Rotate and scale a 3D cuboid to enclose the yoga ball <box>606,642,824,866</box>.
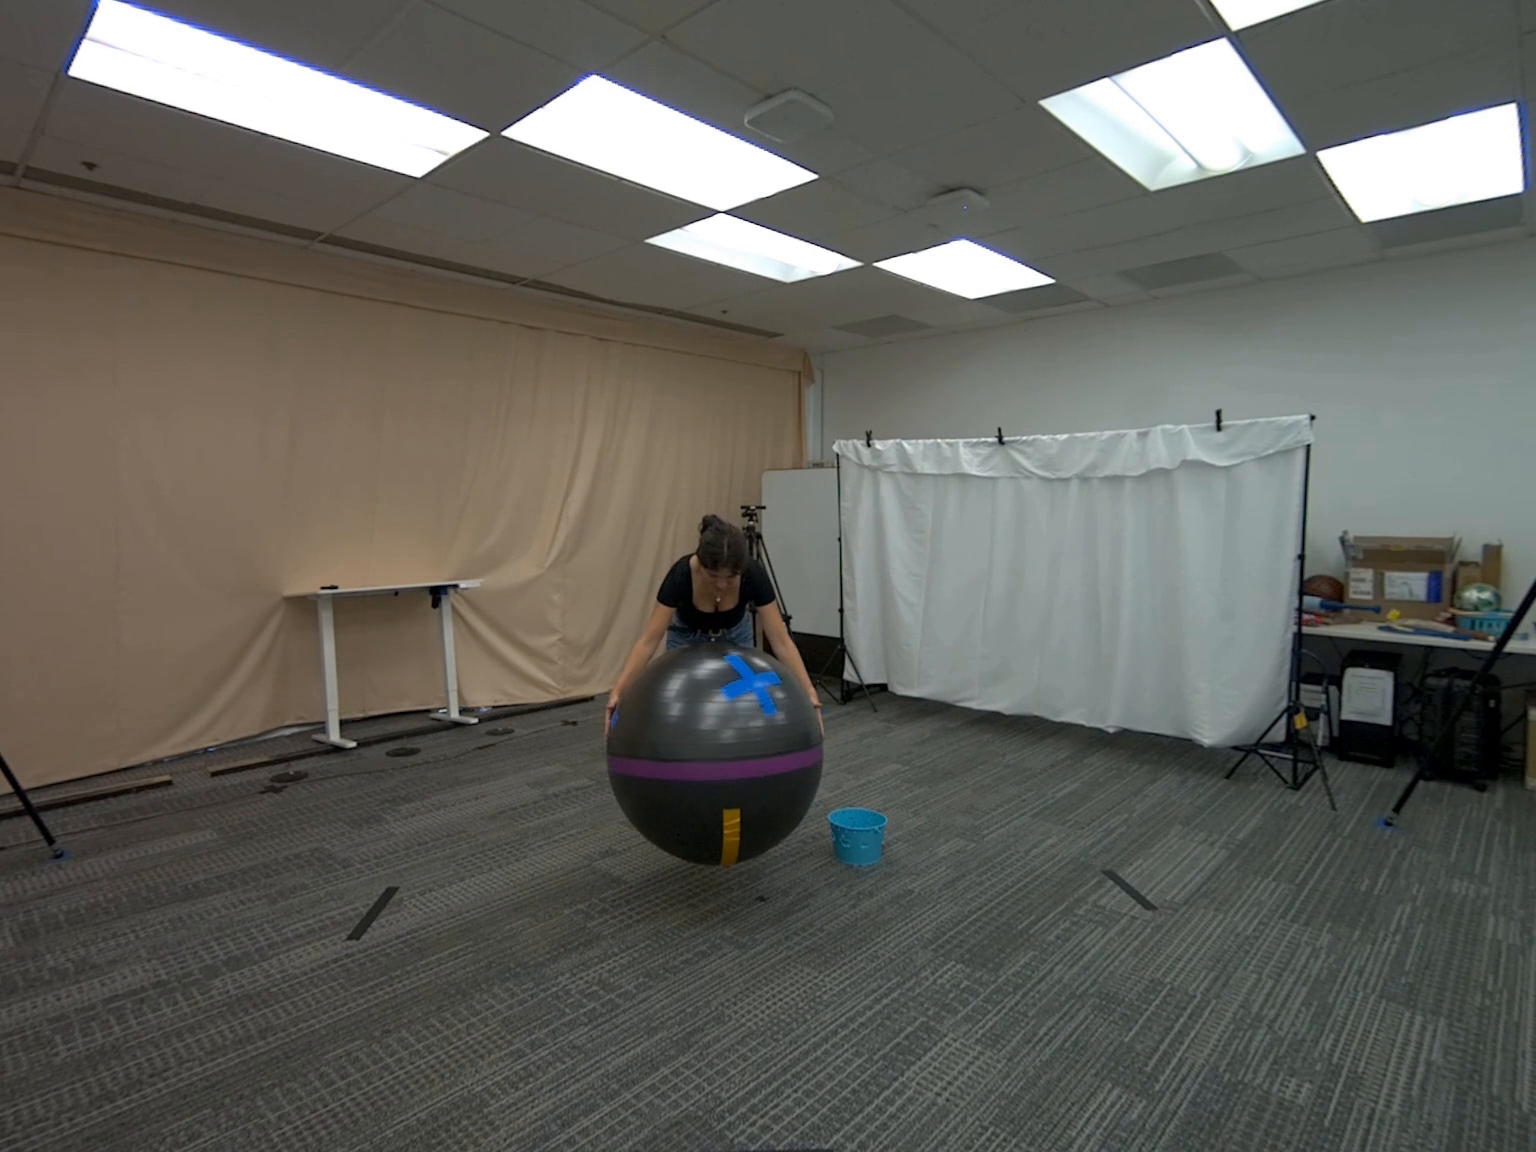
[{"bbox_3d":[-0.191,0.634,2.938,0.757,0.756,0.760,0,4,-2],"label":"yoga ball"}]
